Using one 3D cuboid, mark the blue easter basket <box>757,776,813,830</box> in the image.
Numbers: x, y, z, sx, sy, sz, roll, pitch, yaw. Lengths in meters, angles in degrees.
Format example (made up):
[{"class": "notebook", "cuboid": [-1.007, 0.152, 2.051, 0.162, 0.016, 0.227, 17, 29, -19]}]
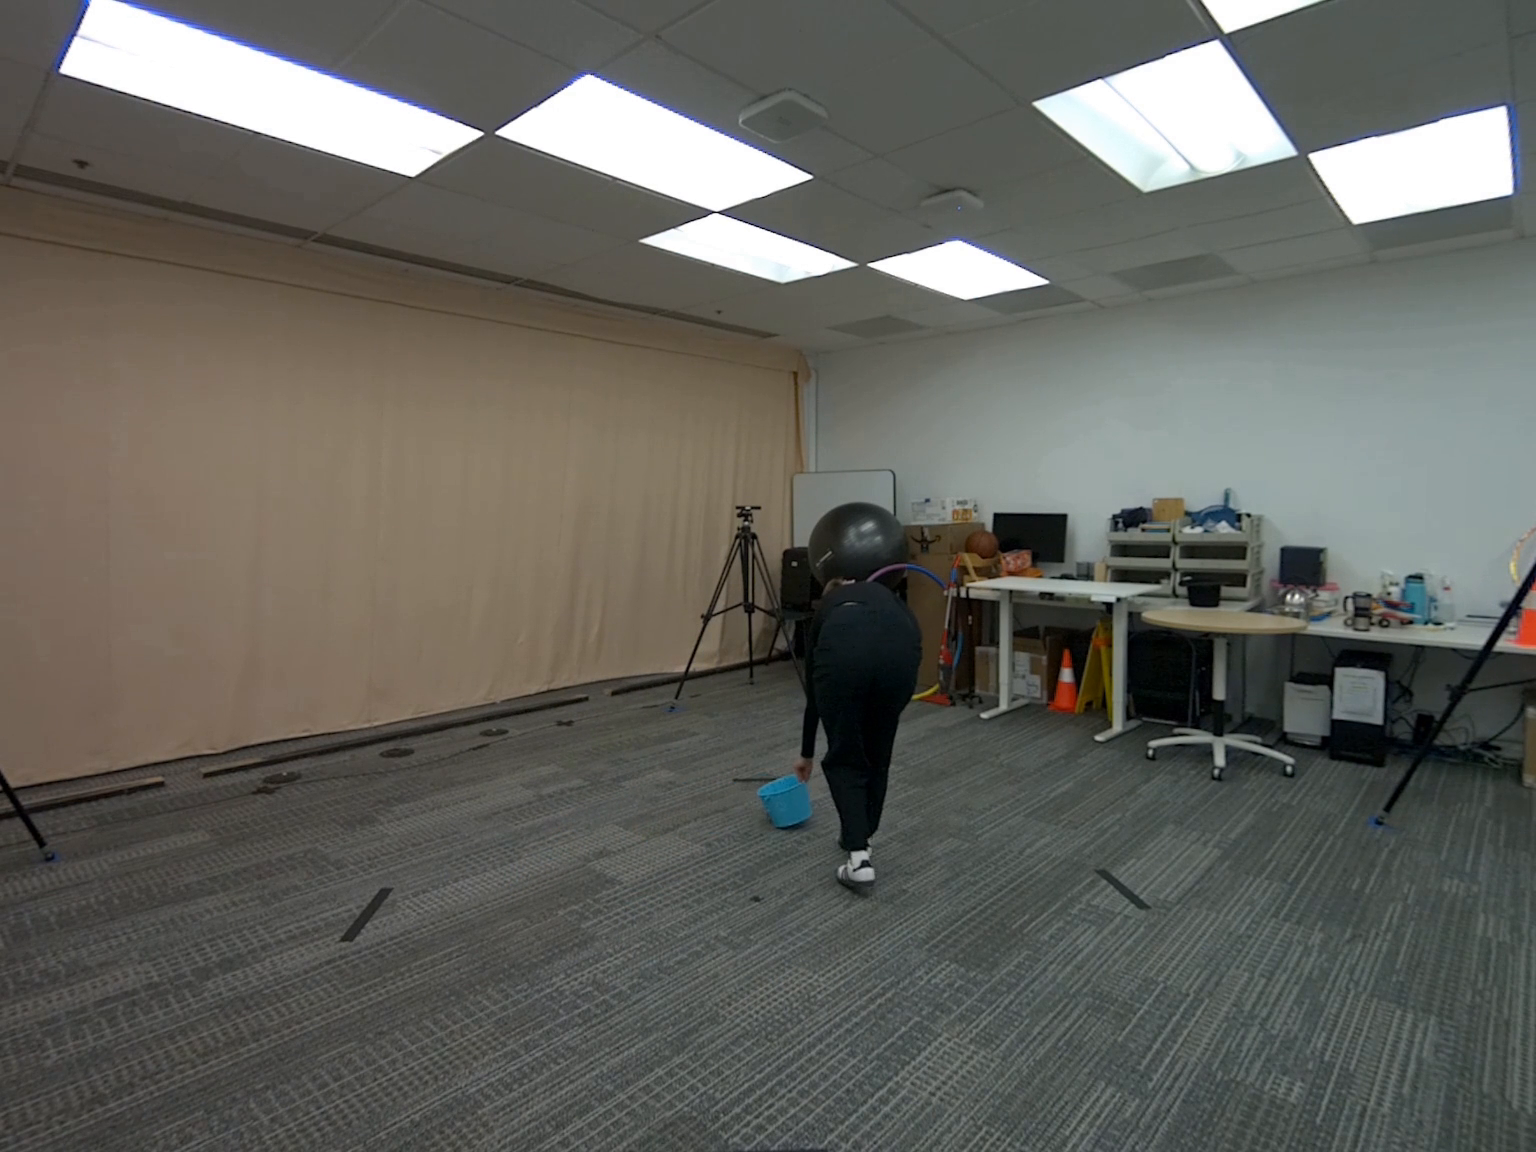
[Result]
[{"class": "blue easter basket", "cuboid": [0.081, 0.986, 3.694, 0.243, 0.156, 0.244, -16, 1, -2]}]
